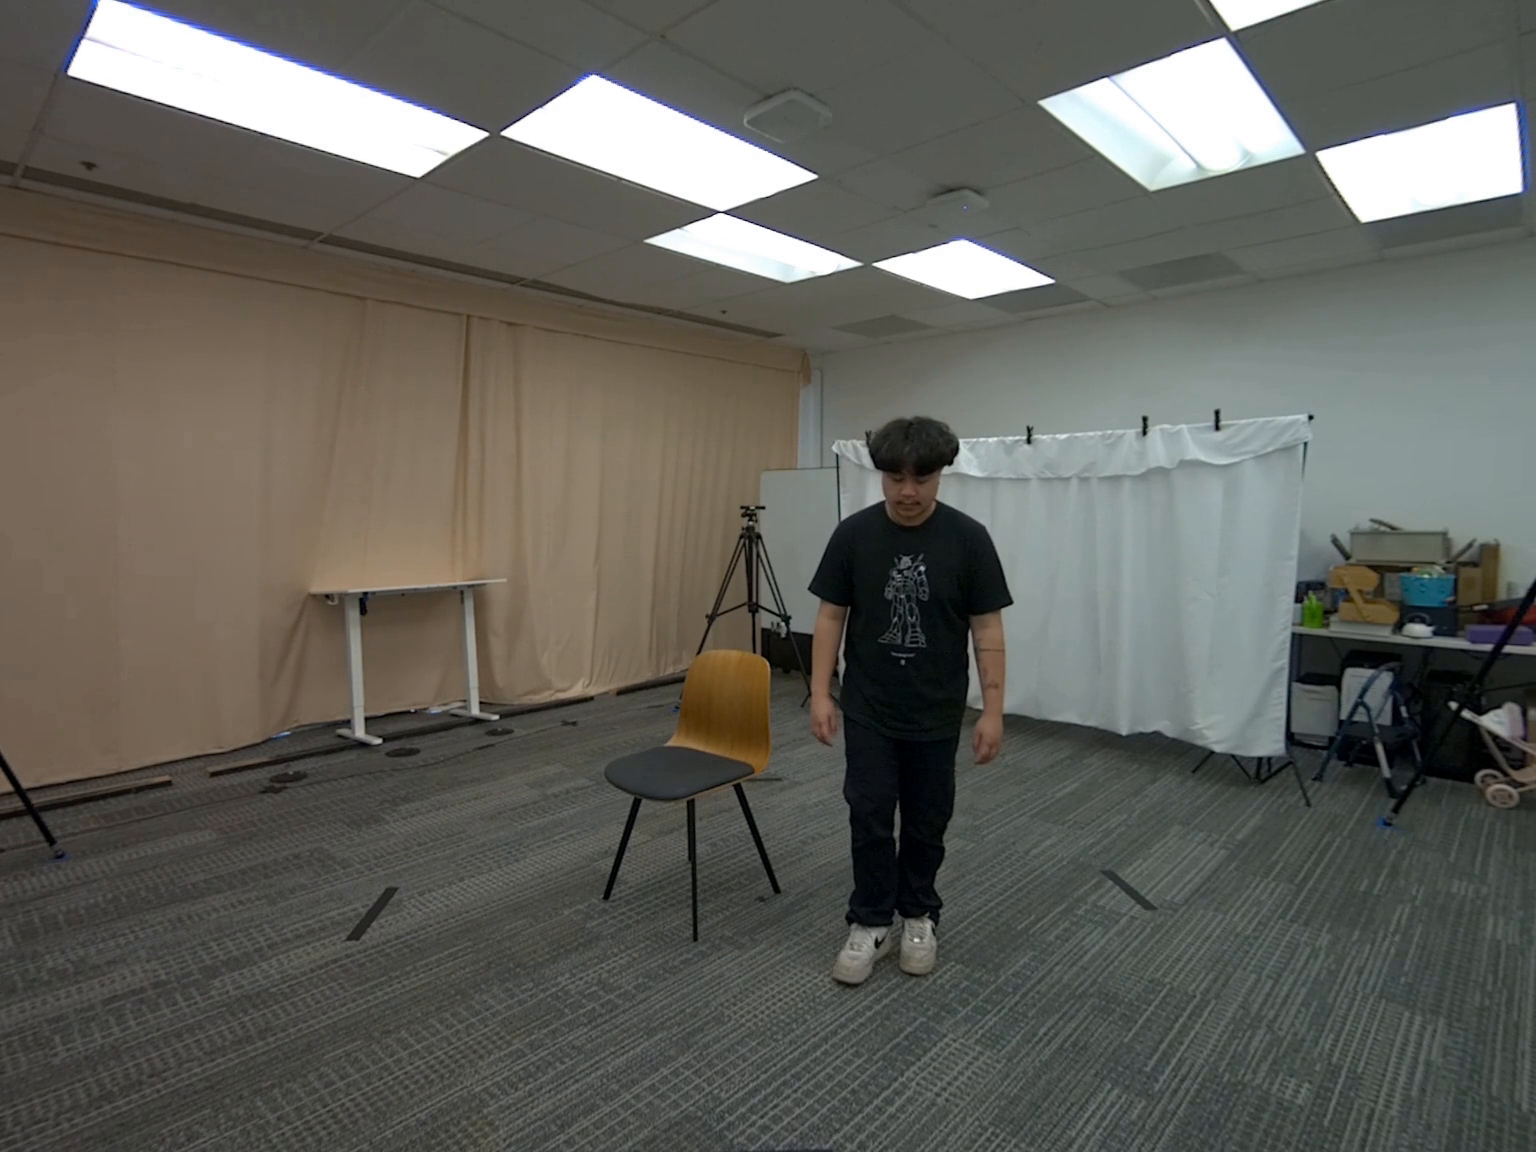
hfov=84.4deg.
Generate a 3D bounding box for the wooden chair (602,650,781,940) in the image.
[{"bbox_3d":[-0.270,0.718,2.972,0.494,0.877,0.506,3,0,40],"label":"wooden chair"}]
